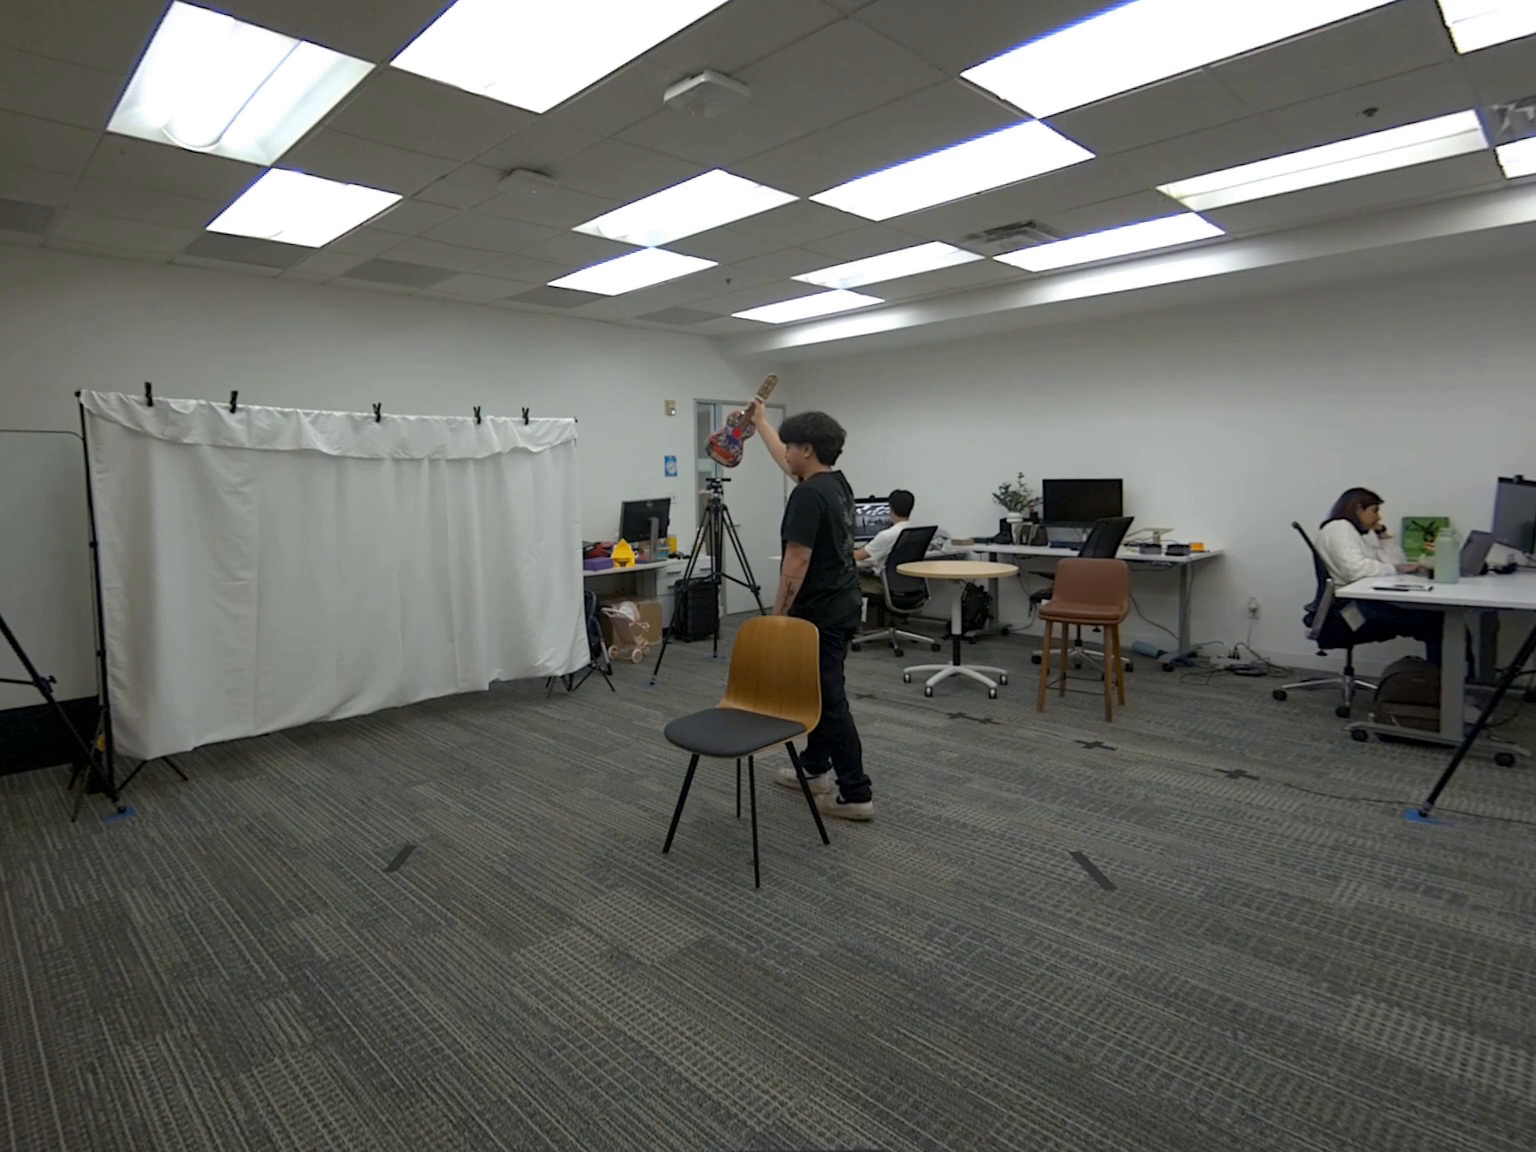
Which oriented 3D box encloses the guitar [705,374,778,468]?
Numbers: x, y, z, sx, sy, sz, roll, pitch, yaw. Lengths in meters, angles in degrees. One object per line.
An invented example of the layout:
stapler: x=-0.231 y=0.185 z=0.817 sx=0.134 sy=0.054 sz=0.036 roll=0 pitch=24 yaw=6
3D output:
guitar: x=-0.091 y=-0.729 z=4.085 sx=0.190 sy=0.498 sz=0.071 roll=41 pitch=11 yaw=-10
